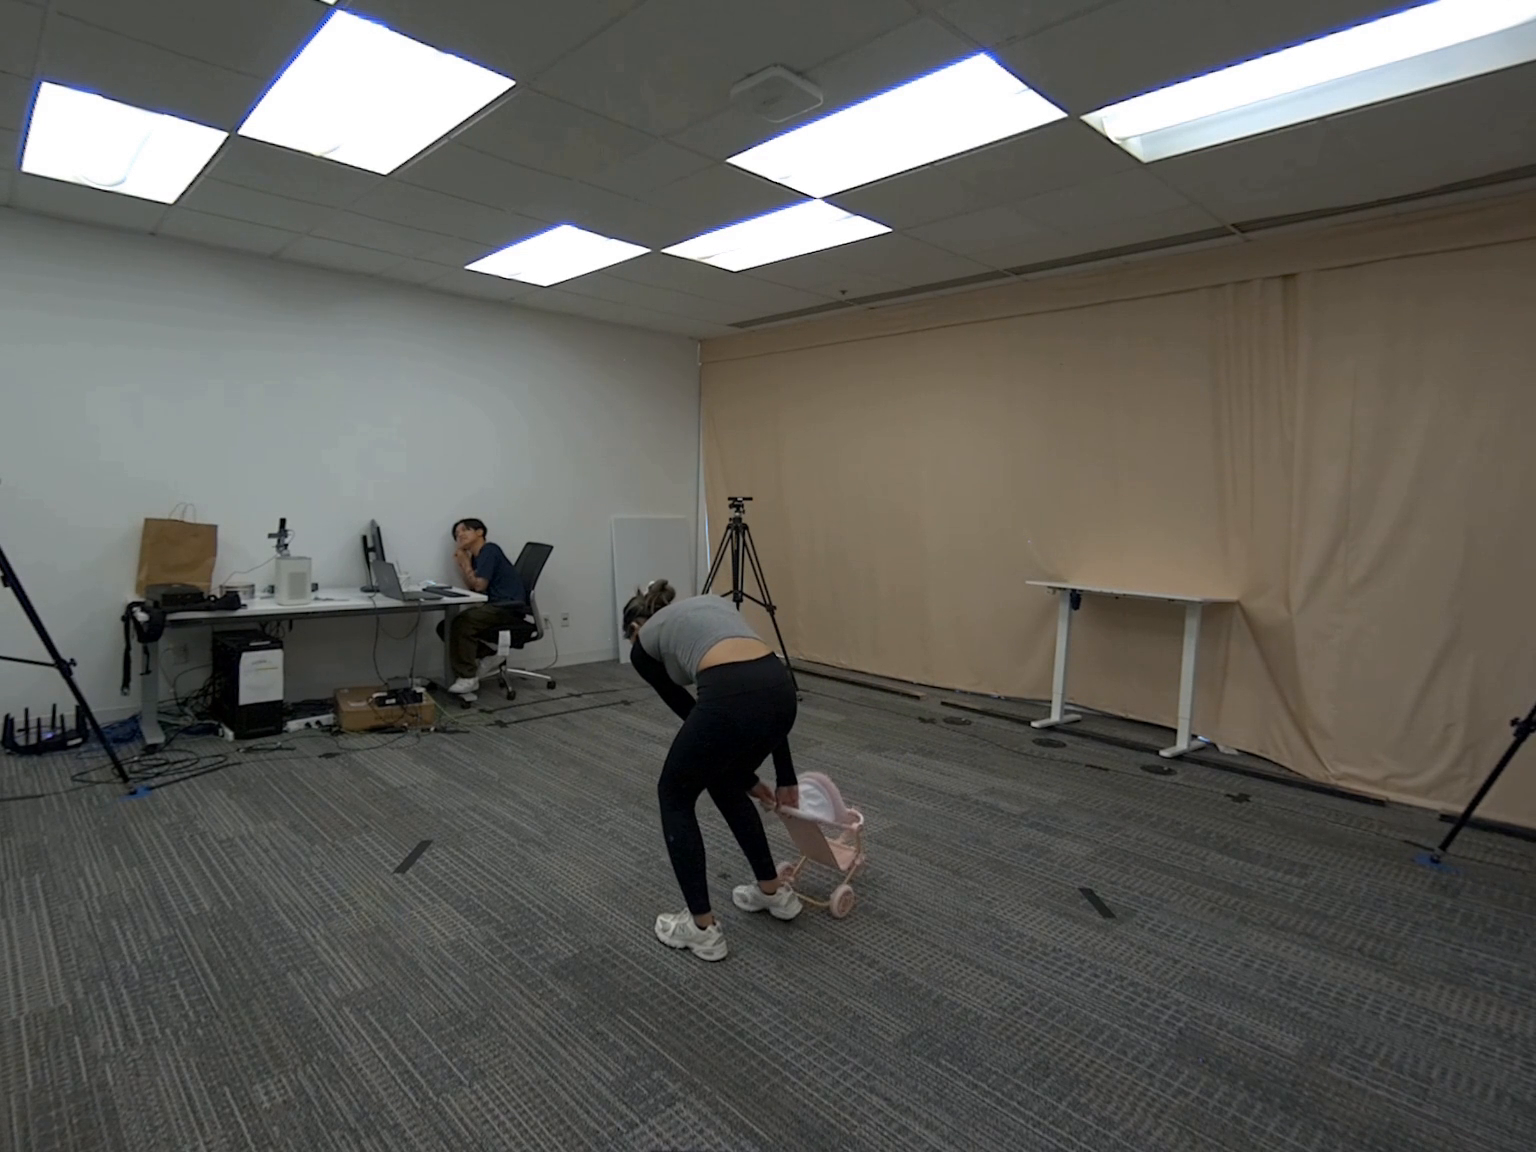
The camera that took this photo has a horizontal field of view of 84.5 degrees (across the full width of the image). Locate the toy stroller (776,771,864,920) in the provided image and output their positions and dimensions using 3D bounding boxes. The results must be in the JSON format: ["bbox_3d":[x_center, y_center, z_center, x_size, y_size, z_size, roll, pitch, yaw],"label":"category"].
[{"bbox_3d":[0.180,0.901,2.908,0.289,0.526,0.338,7,29,45],"label":"toy stroller"}]
